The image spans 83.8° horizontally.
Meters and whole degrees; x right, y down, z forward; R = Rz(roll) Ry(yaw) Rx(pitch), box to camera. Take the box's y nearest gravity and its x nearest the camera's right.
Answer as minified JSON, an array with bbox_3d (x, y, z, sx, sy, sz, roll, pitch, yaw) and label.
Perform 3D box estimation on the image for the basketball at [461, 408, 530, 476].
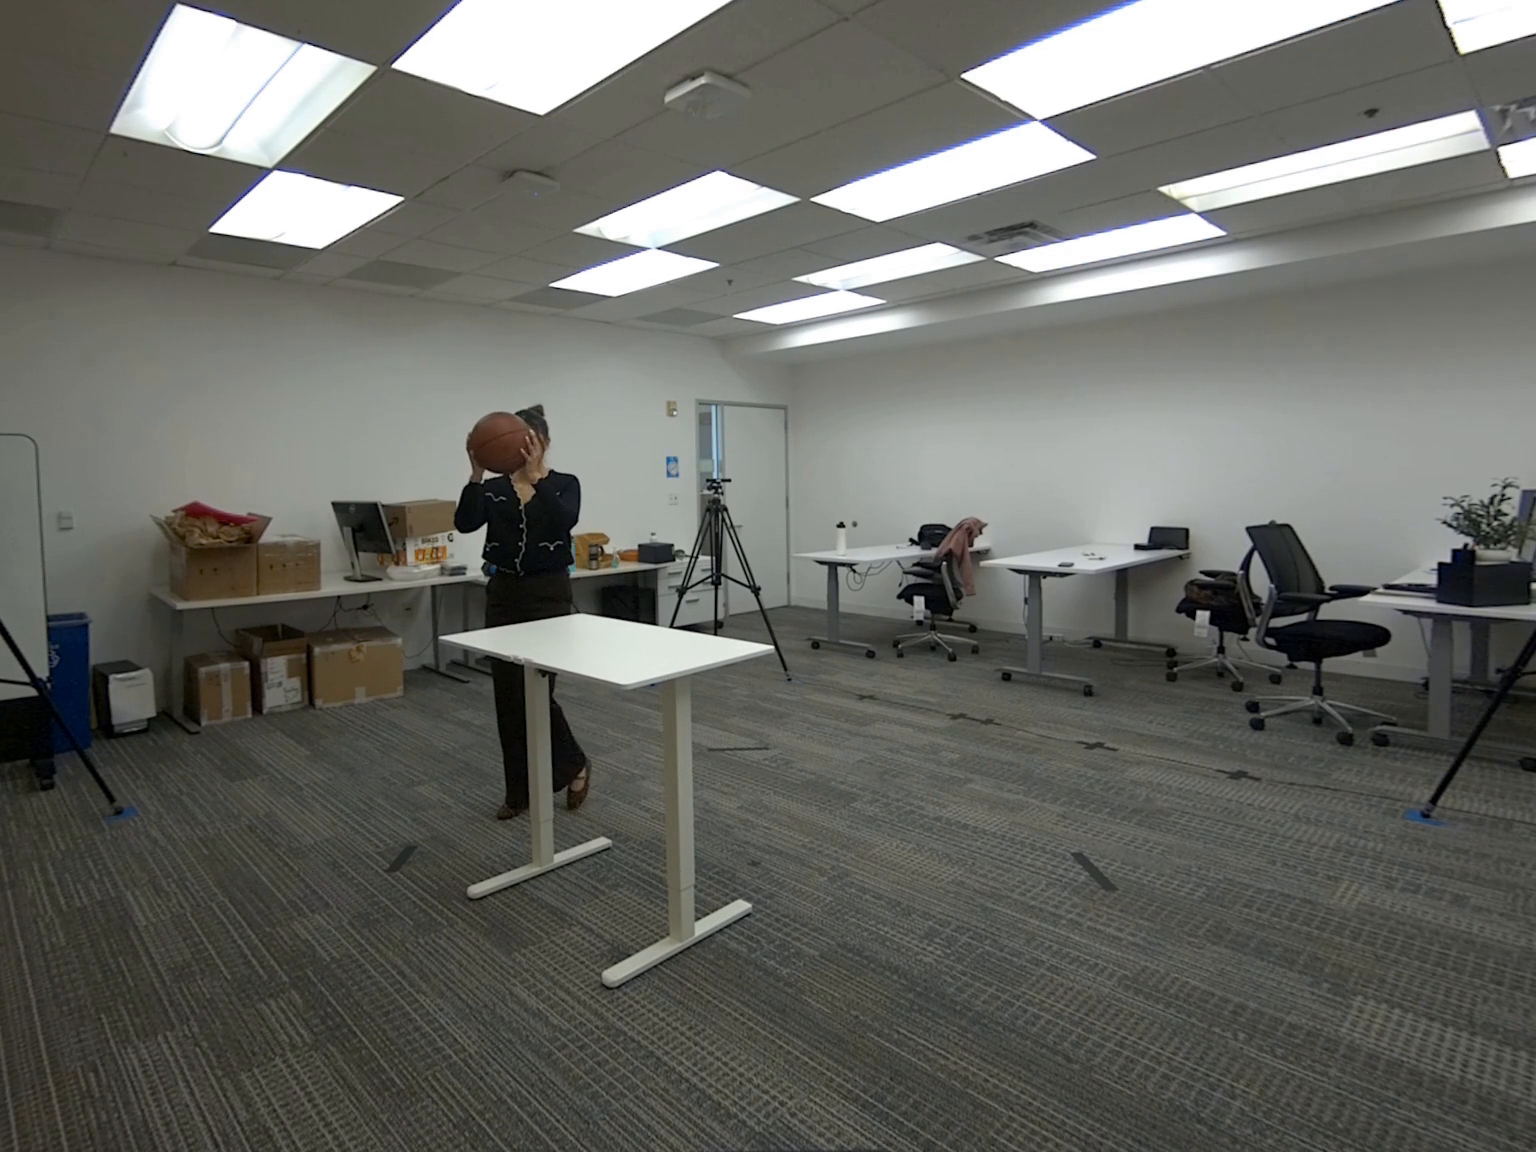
[{"bbox_3d":[-1.011,-0.507,3.255,0.236,0.235,0.237,-1,5,-2],"label":"basketball"}]
